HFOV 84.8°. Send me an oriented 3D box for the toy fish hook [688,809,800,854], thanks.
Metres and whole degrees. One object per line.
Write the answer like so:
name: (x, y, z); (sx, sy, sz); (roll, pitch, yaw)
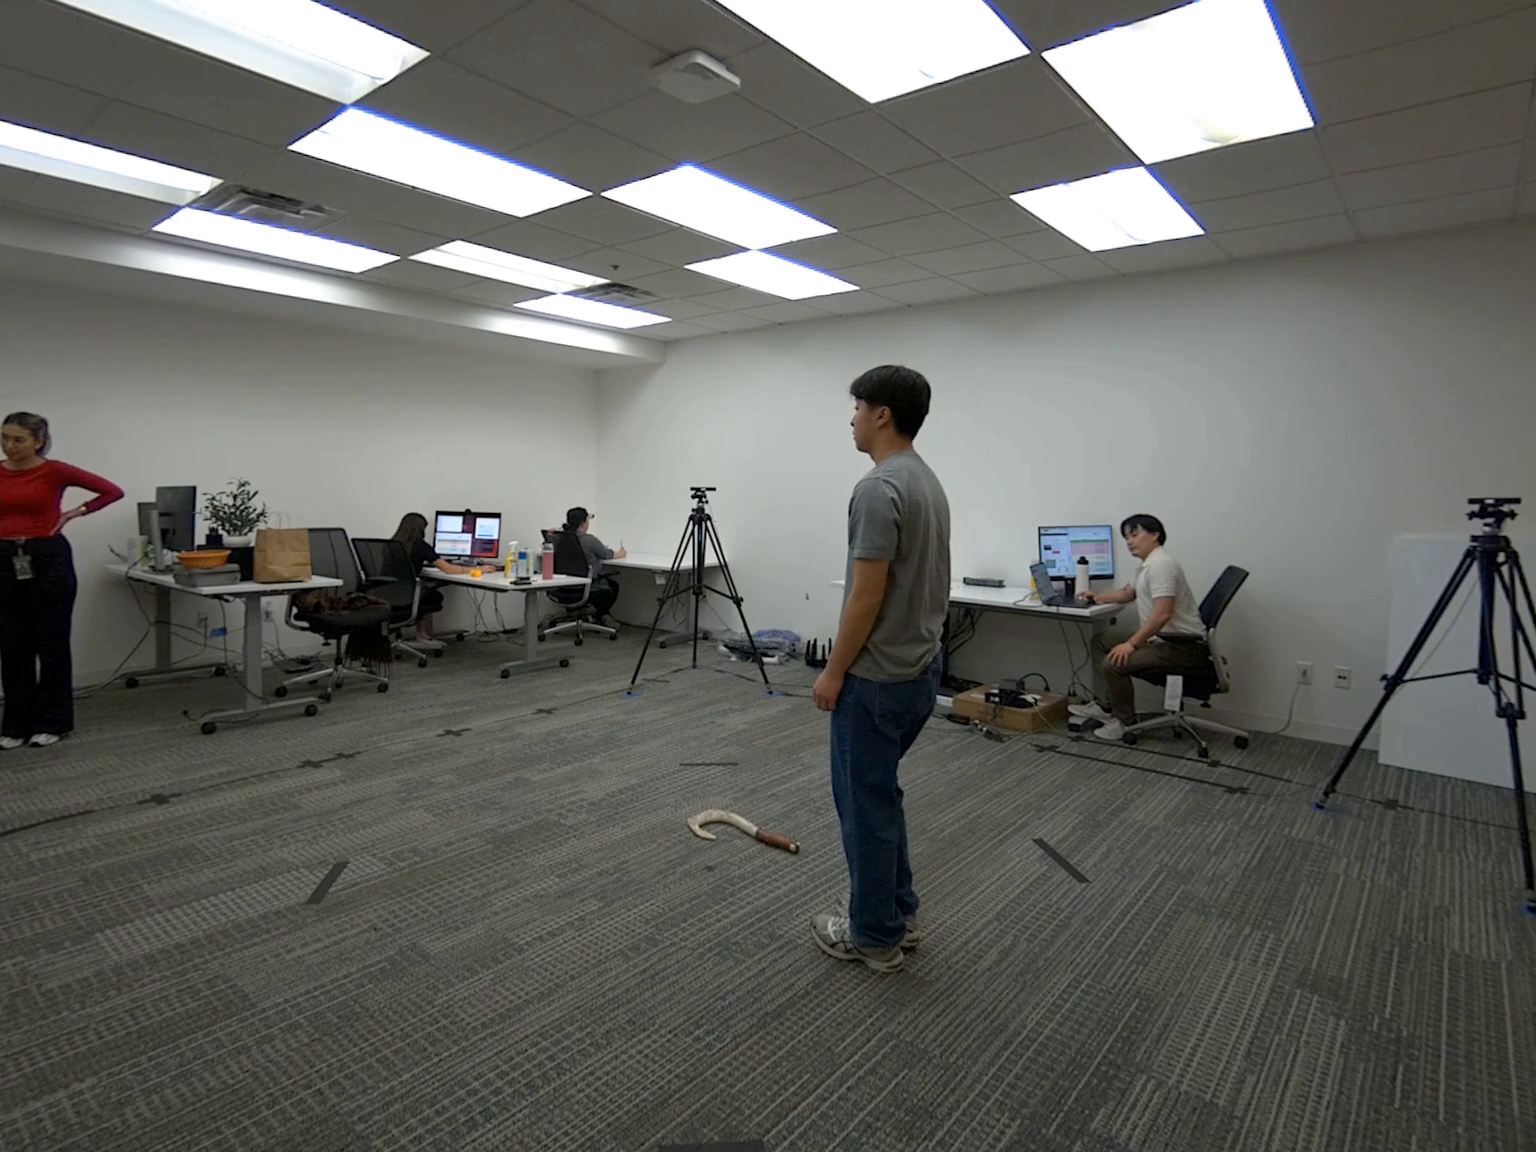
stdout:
toy fish hook: (-0.118, 1.025, 3.378); (0.524, 0.048, 0.219); (5, 15, 41)
